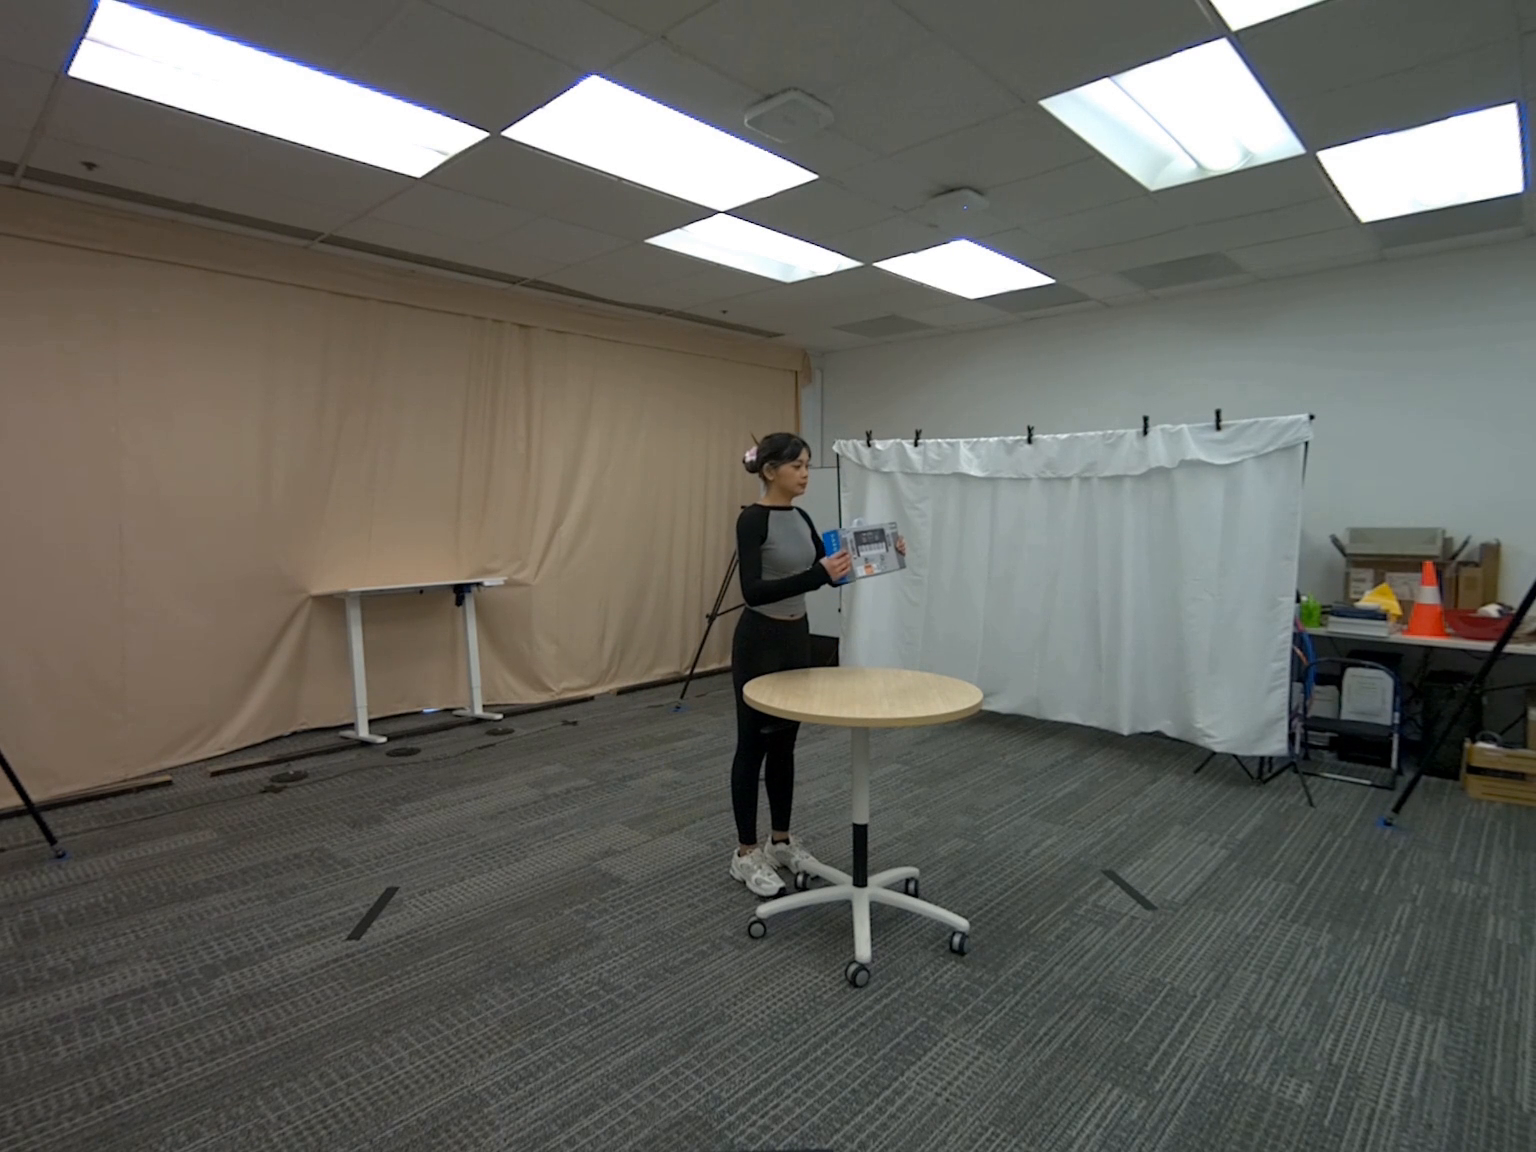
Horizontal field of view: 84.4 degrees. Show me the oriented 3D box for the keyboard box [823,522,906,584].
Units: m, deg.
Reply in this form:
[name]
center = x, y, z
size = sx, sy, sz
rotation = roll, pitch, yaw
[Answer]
[keyboard box]
center = 0.331, -0.083, 2.907
size = 0.060, 0.176, 0.425
rotation = -14, -2, 33
